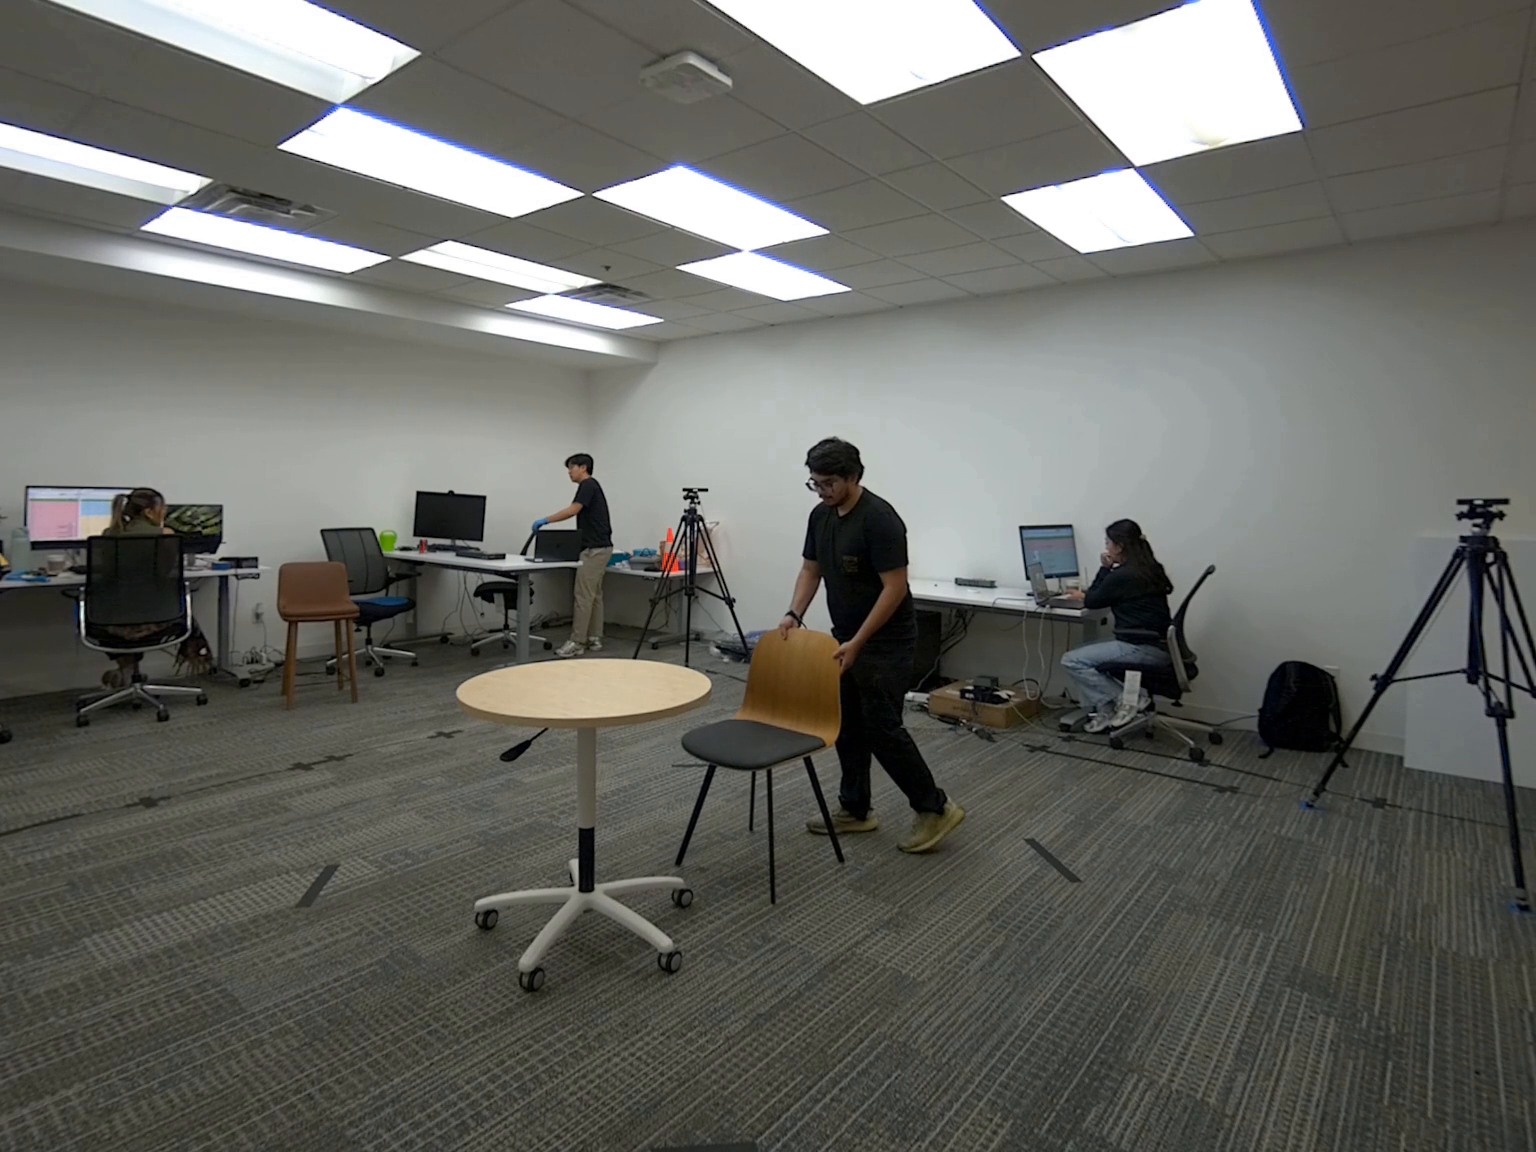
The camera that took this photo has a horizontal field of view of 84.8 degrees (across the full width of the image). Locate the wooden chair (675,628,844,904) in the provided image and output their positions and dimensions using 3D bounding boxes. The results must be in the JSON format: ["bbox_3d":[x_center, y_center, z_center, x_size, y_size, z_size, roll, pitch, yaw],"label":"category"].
[{"bbox_3d":[-0.029,0.642,3.131,0.494,0.878,0.506,4,0,39],"label":"wooden chair"}]
